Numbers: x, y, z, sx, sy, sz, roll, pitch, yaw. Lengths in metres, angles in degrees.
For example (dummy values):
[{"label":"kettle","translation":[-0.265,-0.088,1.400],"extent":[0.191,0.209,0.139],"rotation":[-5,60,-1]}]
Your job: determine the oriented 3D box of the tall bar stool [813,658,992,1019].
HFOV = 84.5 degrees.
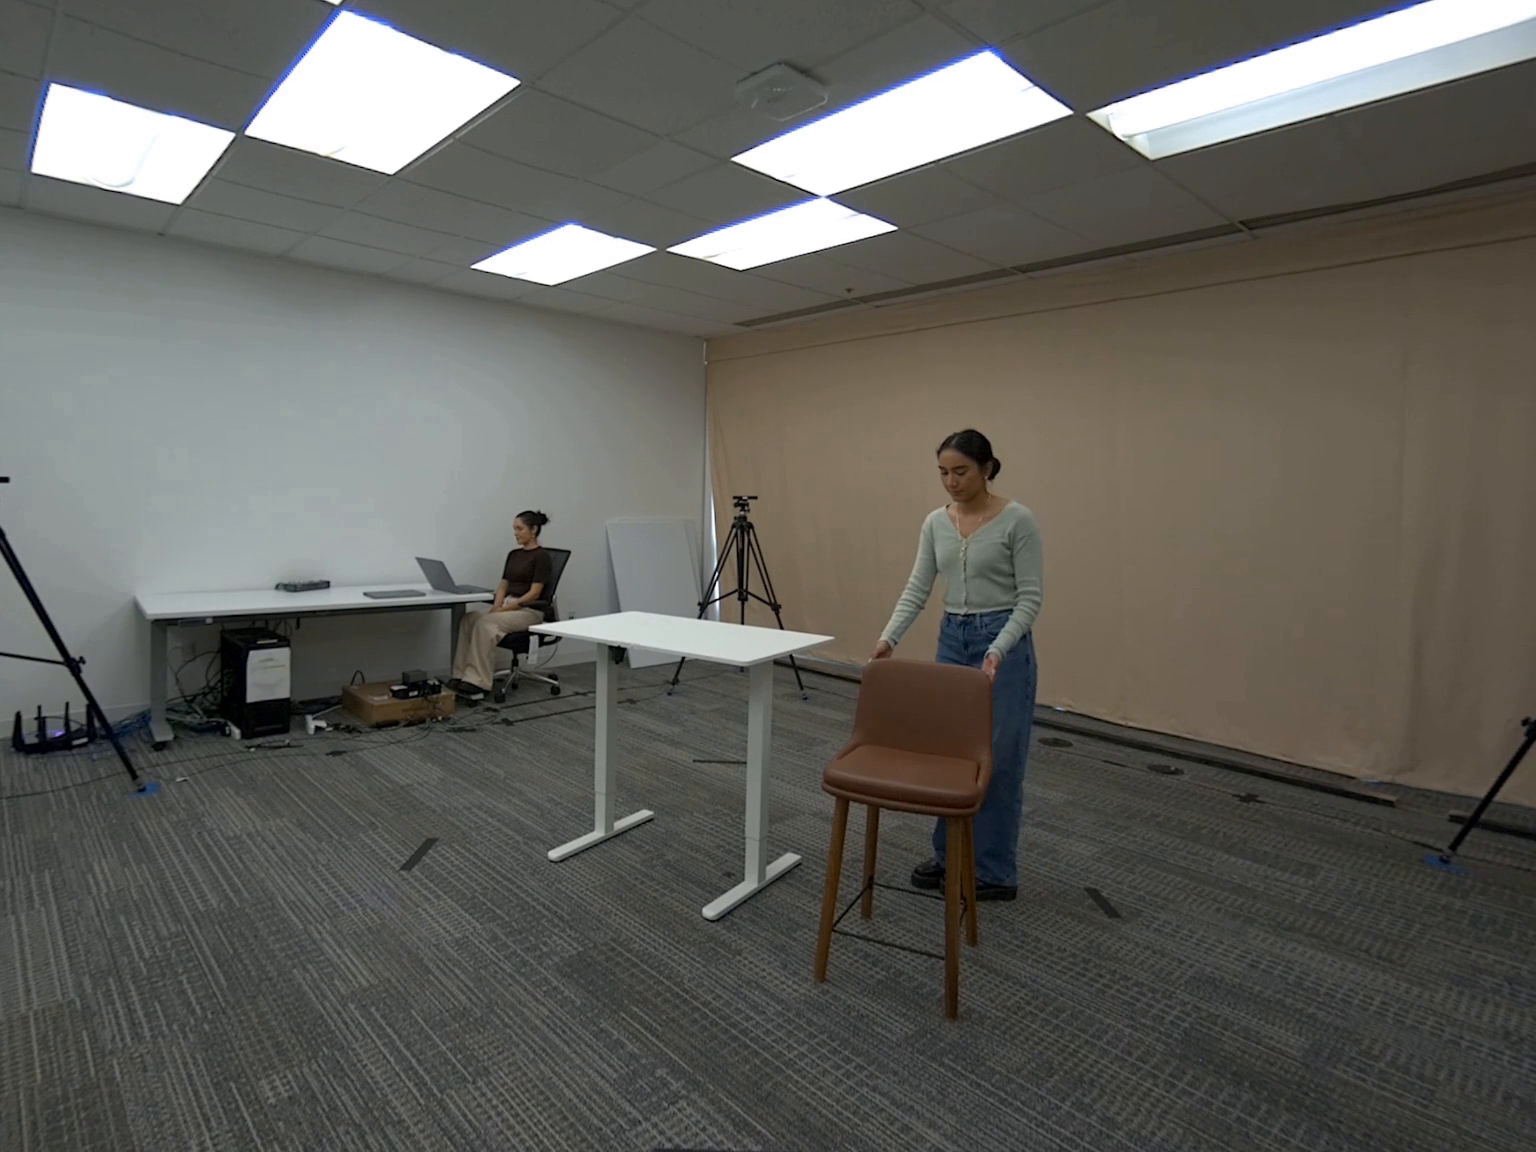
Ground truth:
[{"label":"tall bar stool","translation":[0.418,0.731,2.529],"extent":[0.465,0.889,0.459],"rotation":[3,1,25]}]
